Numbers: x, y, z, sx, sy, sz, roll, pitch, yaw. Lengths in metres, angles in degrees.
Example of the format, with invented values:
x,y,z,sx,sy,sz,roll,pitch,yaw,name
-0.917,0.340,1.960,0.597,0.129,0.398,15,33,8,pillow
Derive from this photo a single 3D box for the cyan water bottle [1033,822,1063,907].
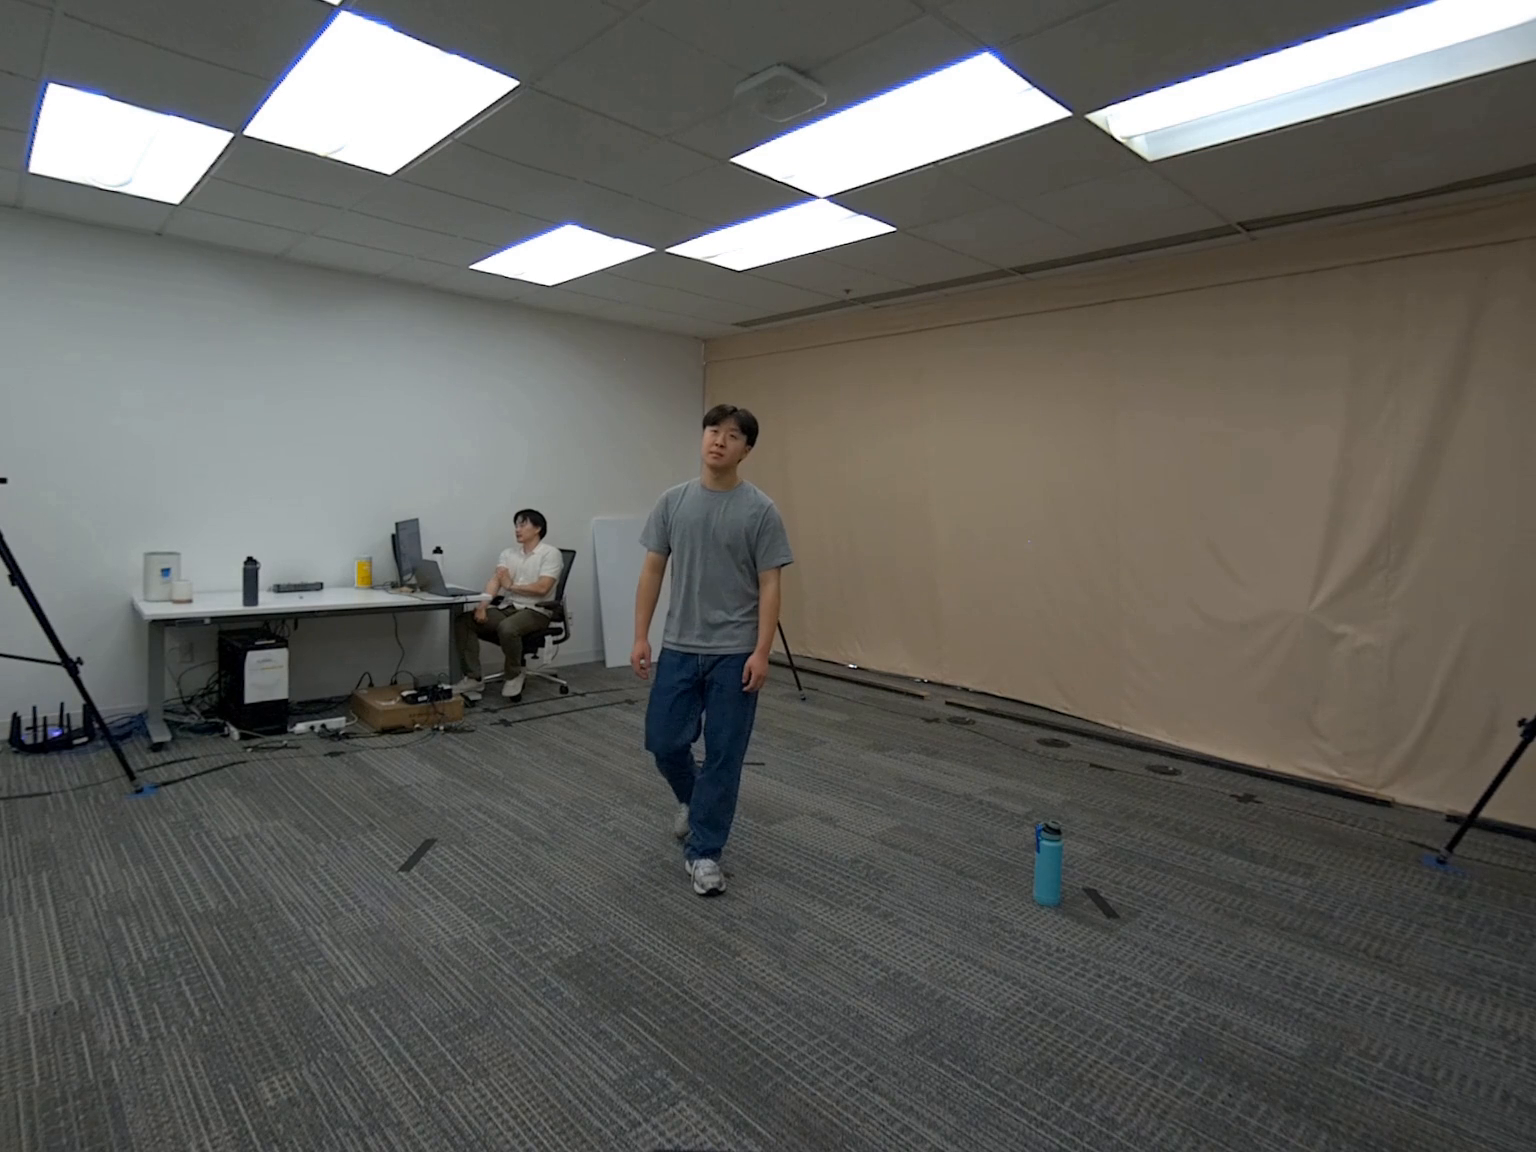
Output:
x,y,z,sx,sy,sz,roll,pitch,yaw,name
0.982,1.007,2.971,0.092,0.283,0.092,2,3,-1,cyan water bottle
